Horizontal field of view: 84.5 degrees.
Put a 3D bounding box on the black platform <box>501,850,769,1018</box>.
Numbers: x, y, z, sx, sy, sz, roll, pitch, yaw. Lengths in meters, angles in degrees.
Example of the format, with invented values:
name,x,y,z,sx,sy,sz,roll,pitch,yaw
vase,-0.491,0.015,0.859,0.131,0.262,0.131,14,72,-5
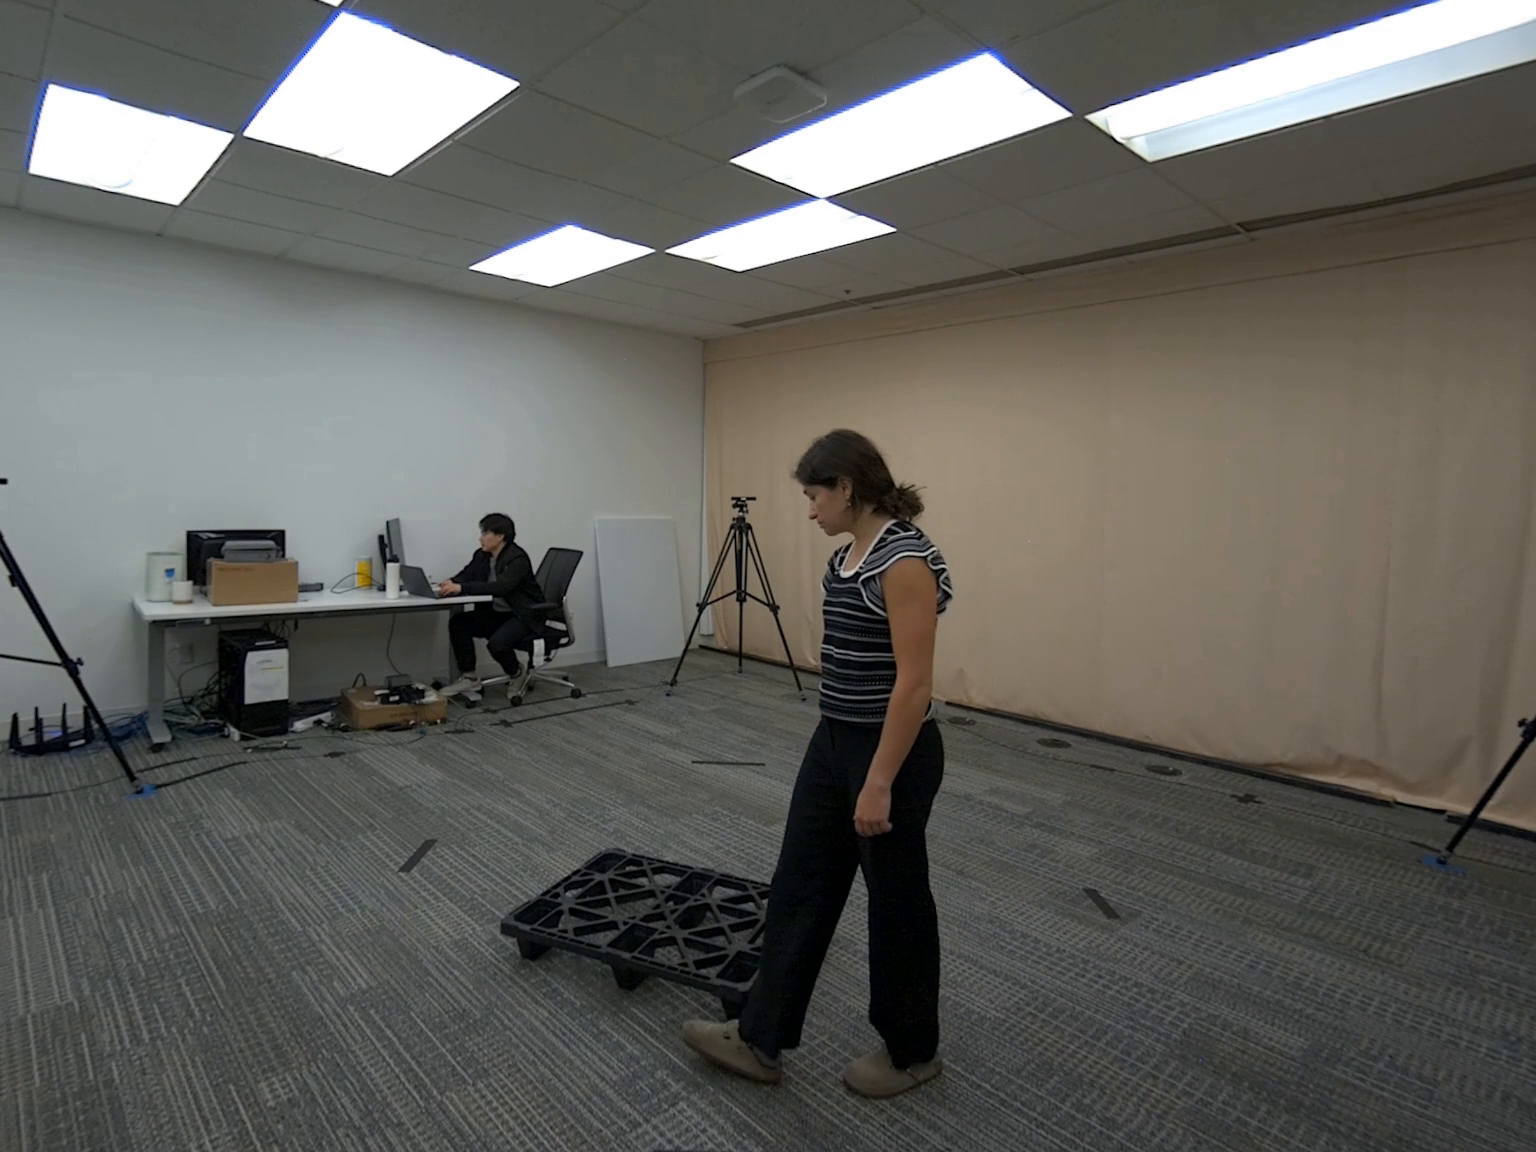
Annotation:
name,x,y,z,sx,sy,sz,roll,pitch,yaw
black platform,-0.323,1.081,2.589,0.820,0.143,0.596,4,5,23
